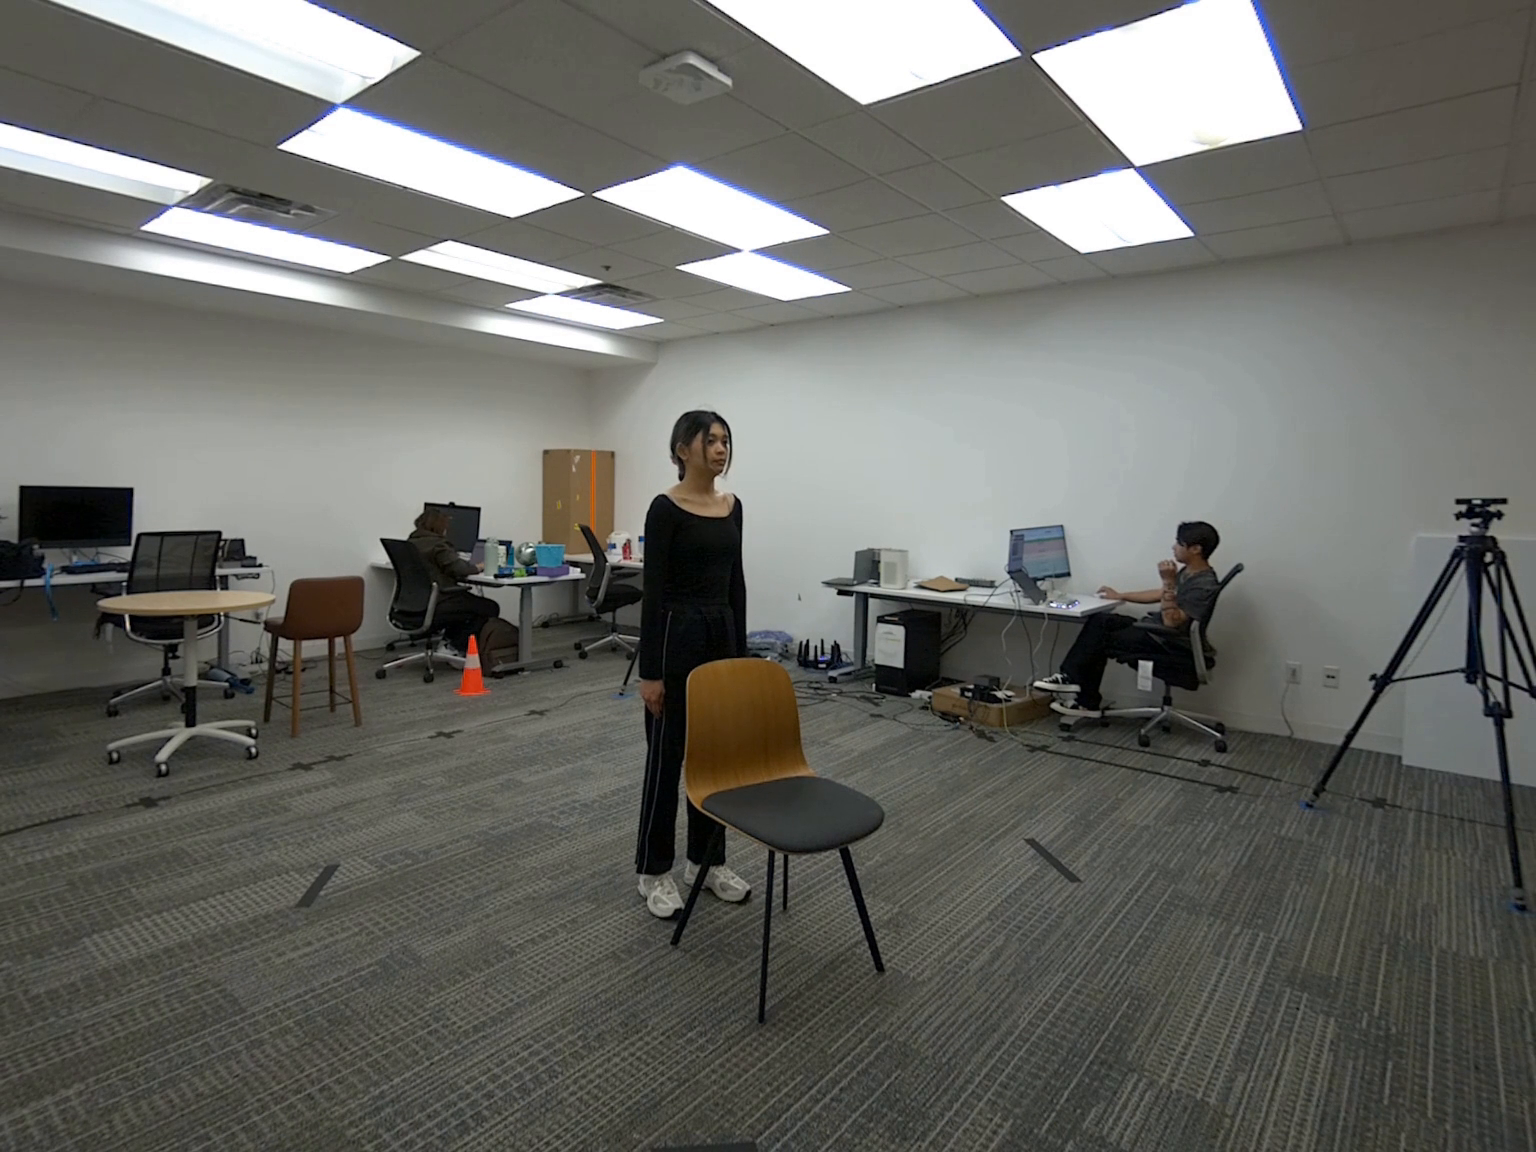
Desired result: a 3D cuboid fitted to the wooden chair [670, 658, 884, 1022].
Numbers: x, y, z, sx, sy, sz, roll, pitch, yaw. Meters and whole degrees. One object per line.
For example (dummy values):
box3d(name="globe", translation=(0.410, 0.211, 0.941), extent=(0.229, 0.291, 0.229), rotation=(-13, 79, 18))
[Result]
box3d(name="wooden chair", translation=(0.036, 0.710, 2.487), extent=(0.464, 0.878, 0.538), rotation=(-1, 0, -36))
